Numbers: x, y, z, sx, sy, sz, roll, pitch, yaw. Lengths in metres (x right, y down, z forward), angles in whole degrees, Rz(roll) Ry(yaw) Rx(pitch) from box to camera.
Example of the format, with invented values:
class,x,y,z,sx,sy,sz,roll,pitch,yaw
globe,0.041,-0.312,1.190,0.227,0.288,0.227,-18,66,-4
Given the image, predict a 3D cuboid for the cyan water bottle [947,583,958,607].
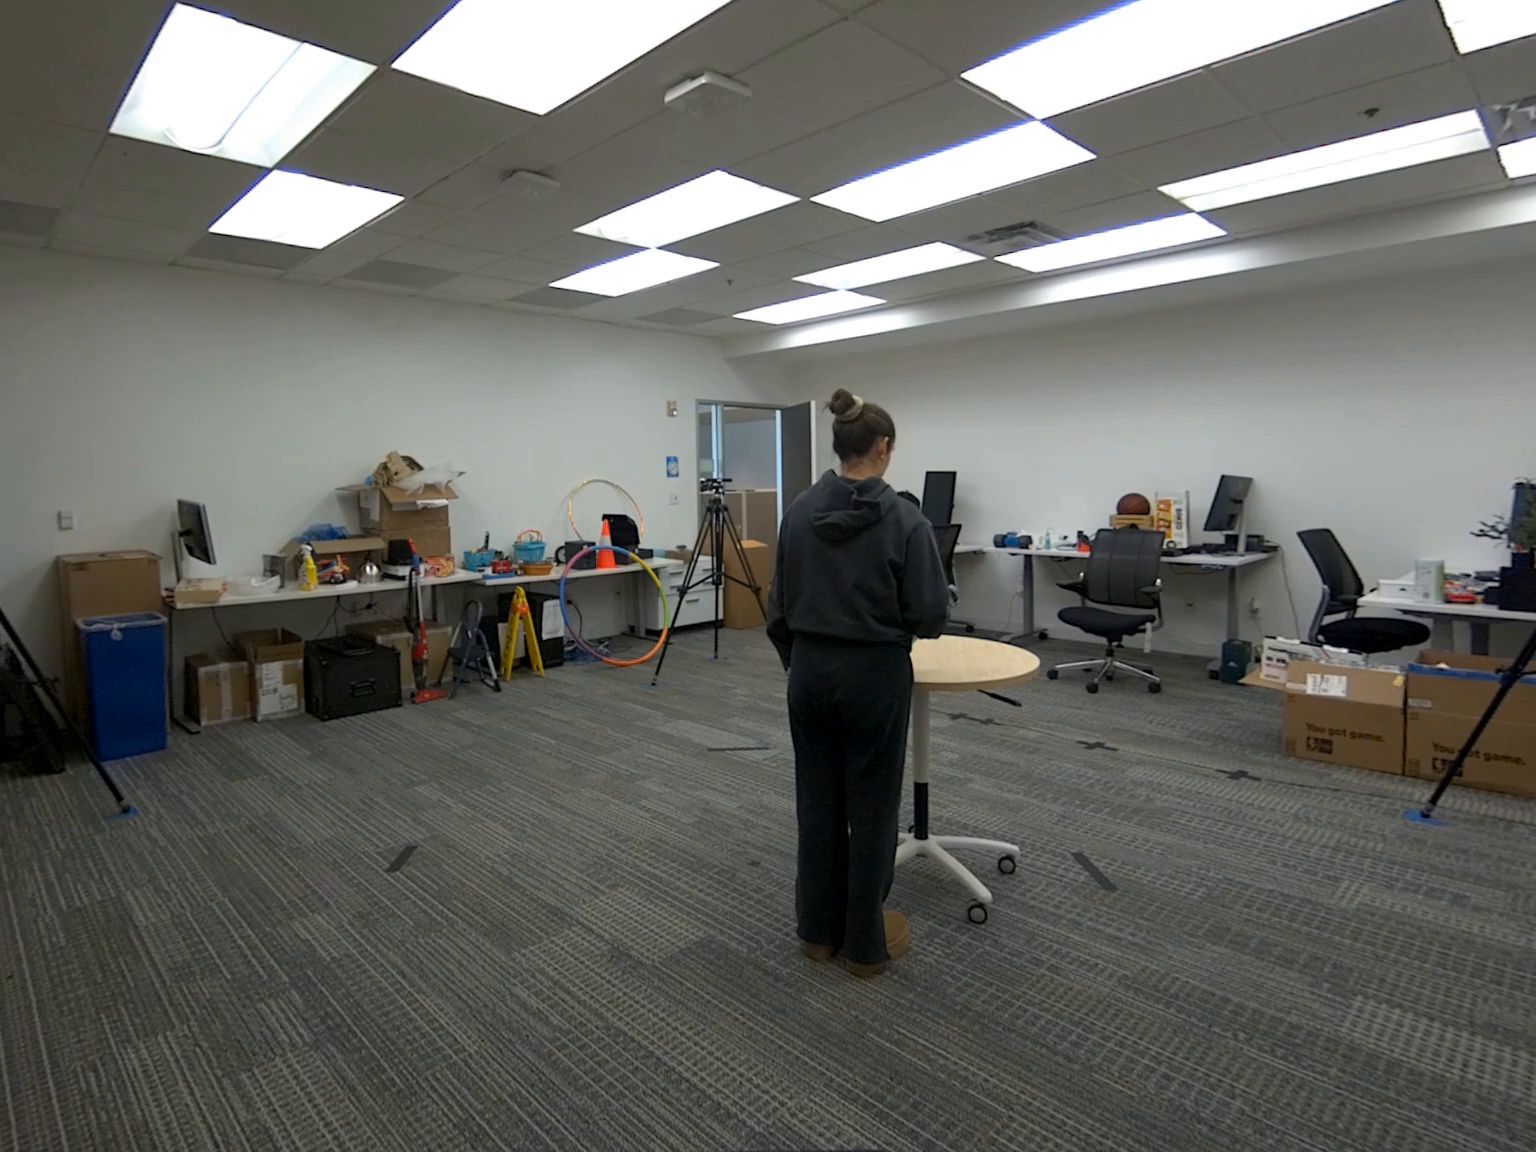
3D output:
class,x,y,z,sx,sy,sz,roll,pitch,yaw
cyan water bottle,0.498,0.129,2.661,0.283,0.091,0.094,-43,13,-9
